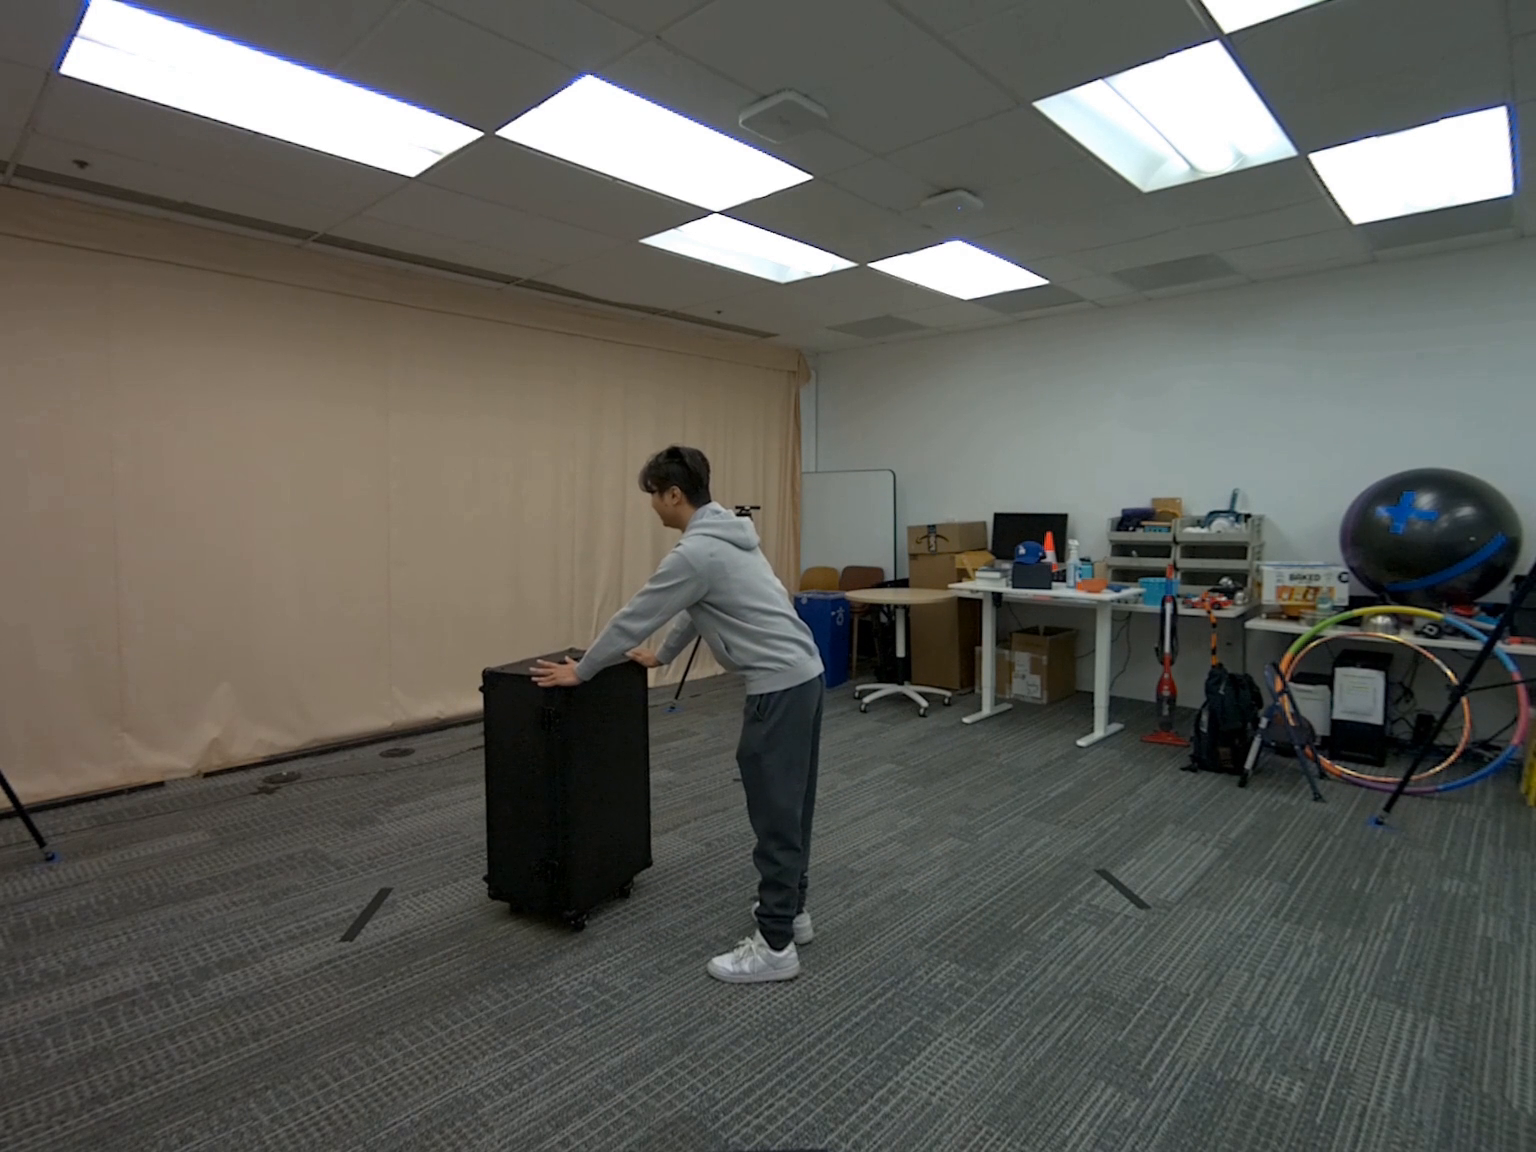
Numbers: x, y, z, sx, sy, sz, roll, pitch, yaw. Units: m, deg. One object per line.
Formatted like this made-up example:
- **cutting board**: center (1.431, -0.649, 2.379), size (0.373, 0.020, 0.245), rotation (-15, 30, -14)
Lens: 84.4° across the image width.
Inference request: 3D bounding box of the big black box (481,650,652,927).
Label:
- **big black box**: center (-0.700, 0.724, 2.964), size (0.407, 0.860, 0.508), rotation (1, 3, 27)
